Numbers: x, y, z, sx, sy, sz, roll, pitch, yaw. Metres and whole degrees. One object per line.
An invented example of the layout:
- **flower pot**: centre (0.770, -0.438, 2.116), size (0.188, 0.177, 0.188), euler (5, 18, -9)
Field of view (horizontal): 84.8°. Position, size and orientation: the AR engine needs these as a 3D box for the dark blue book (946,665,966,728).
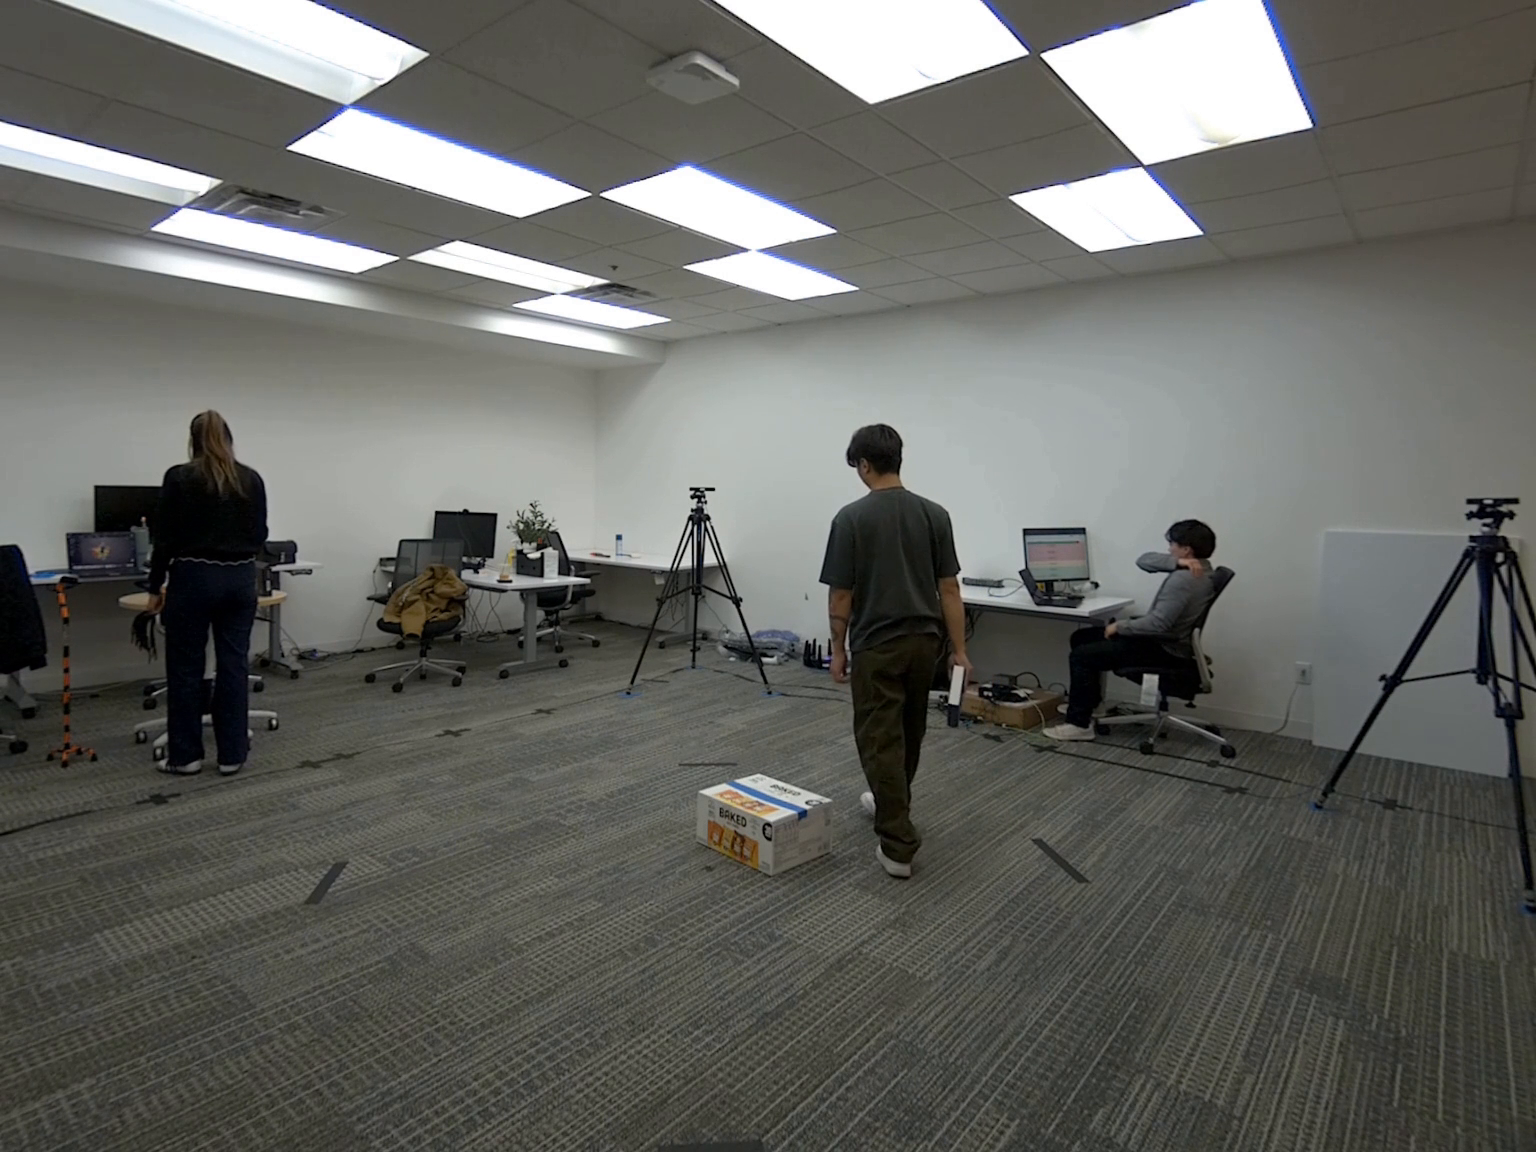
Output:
- **dark blue book**: centre (0.714, 0.457, 3.268), size (0.046, 0.166, 0.236), euler (7, -28, 16)
